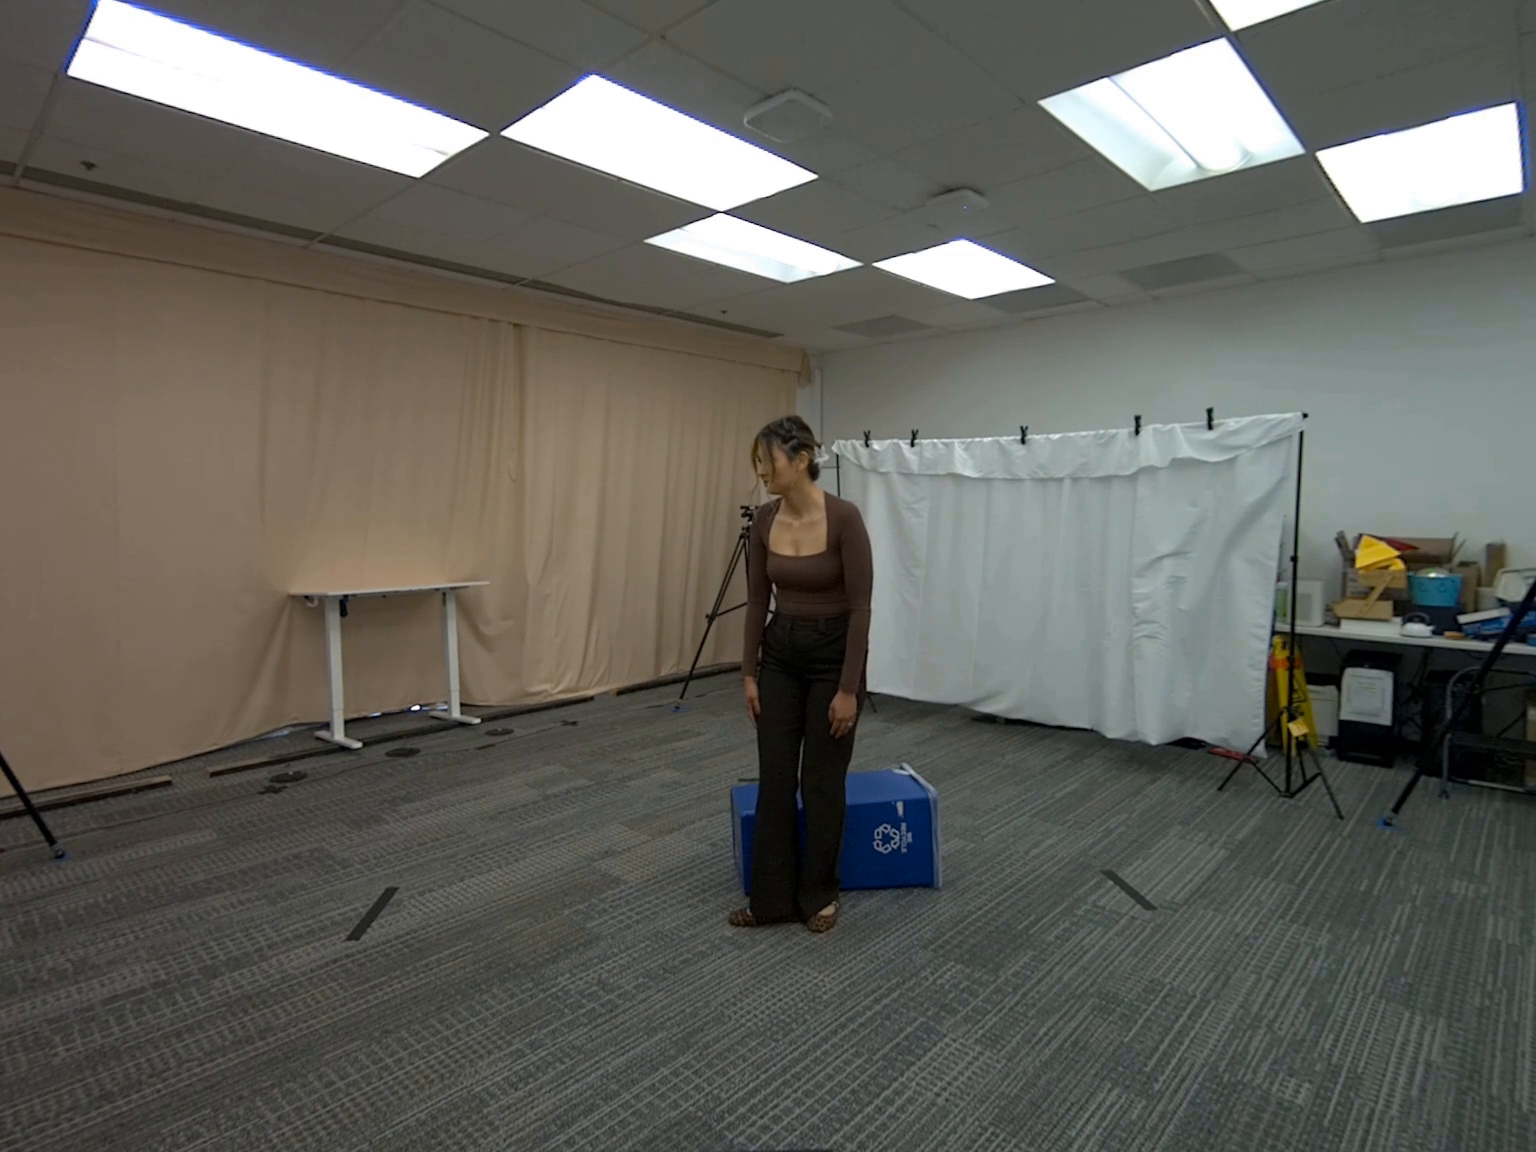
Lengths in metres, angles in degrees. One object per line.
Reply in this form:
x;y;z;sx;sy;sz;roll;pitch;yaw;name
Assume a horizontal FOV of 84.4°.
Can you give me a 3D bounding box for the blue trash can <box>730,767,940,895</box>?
0.242;0.965;3.168;0.708;0.377;0.378;-4;4;-8;blue trash can
